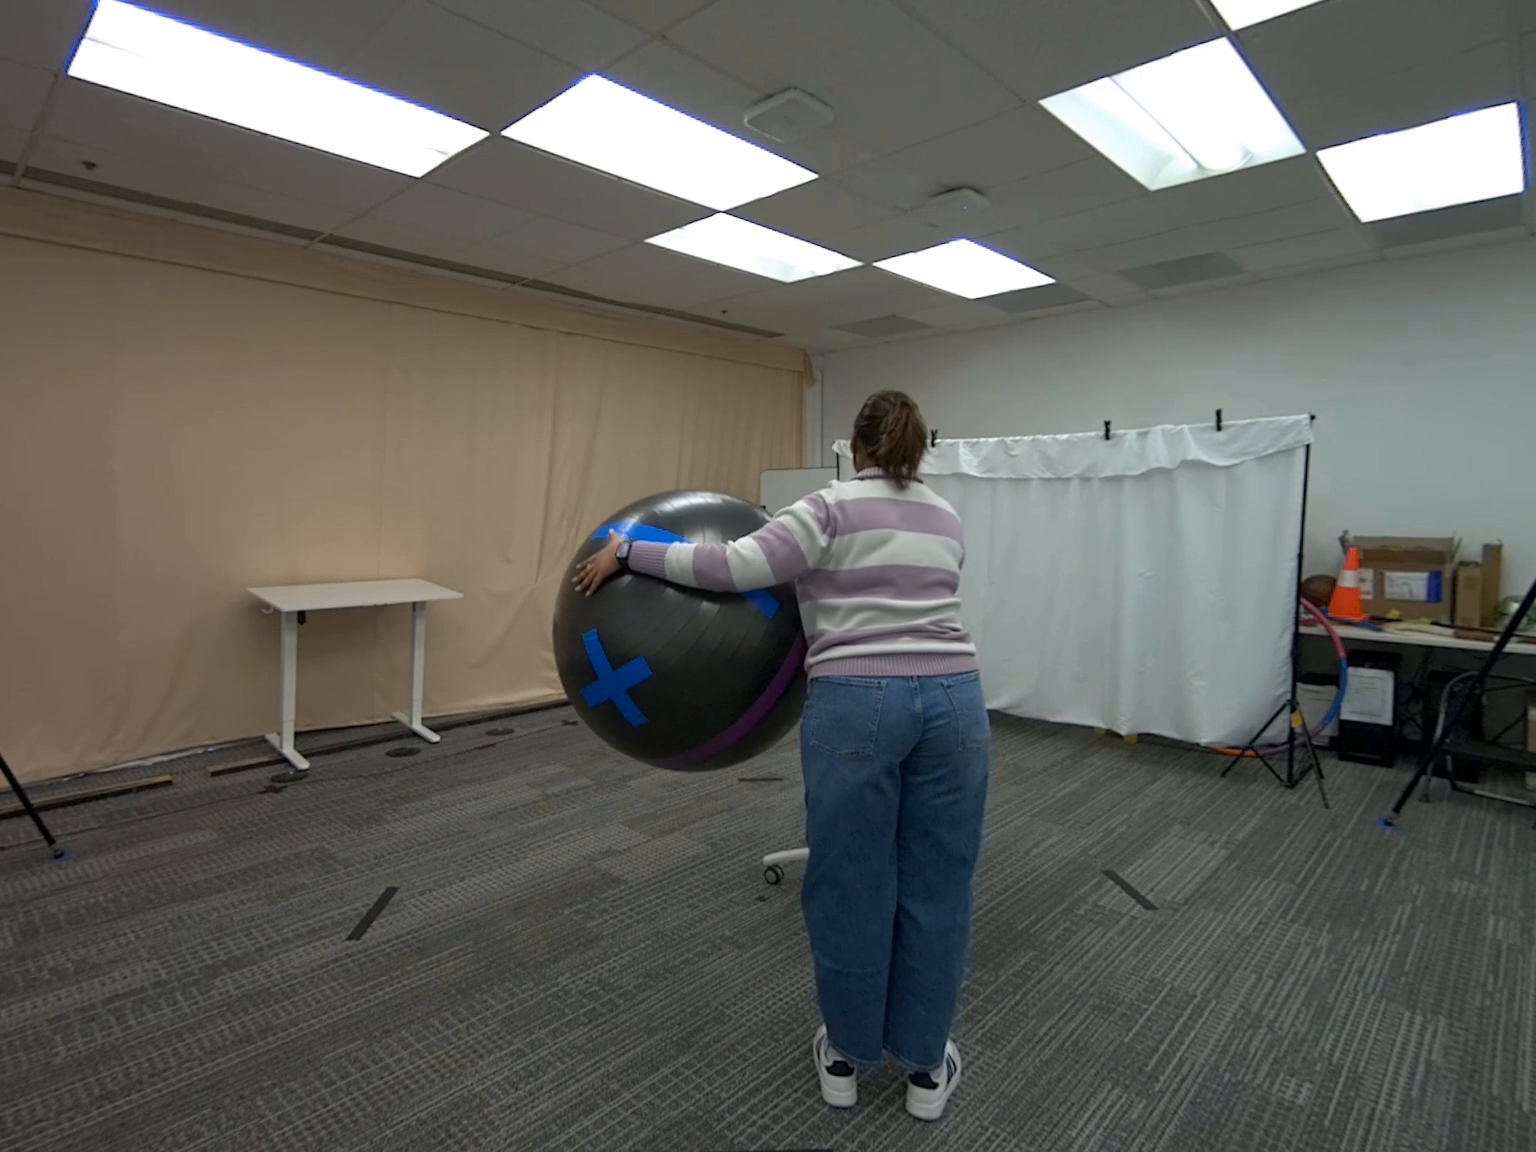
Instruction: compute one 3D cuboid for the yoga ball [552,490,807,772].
[{"bbox_3d":[-0.204,0.152,2.301,0.757,0.756,0.760,0,4,-2],"label":"yoga ball"}]
